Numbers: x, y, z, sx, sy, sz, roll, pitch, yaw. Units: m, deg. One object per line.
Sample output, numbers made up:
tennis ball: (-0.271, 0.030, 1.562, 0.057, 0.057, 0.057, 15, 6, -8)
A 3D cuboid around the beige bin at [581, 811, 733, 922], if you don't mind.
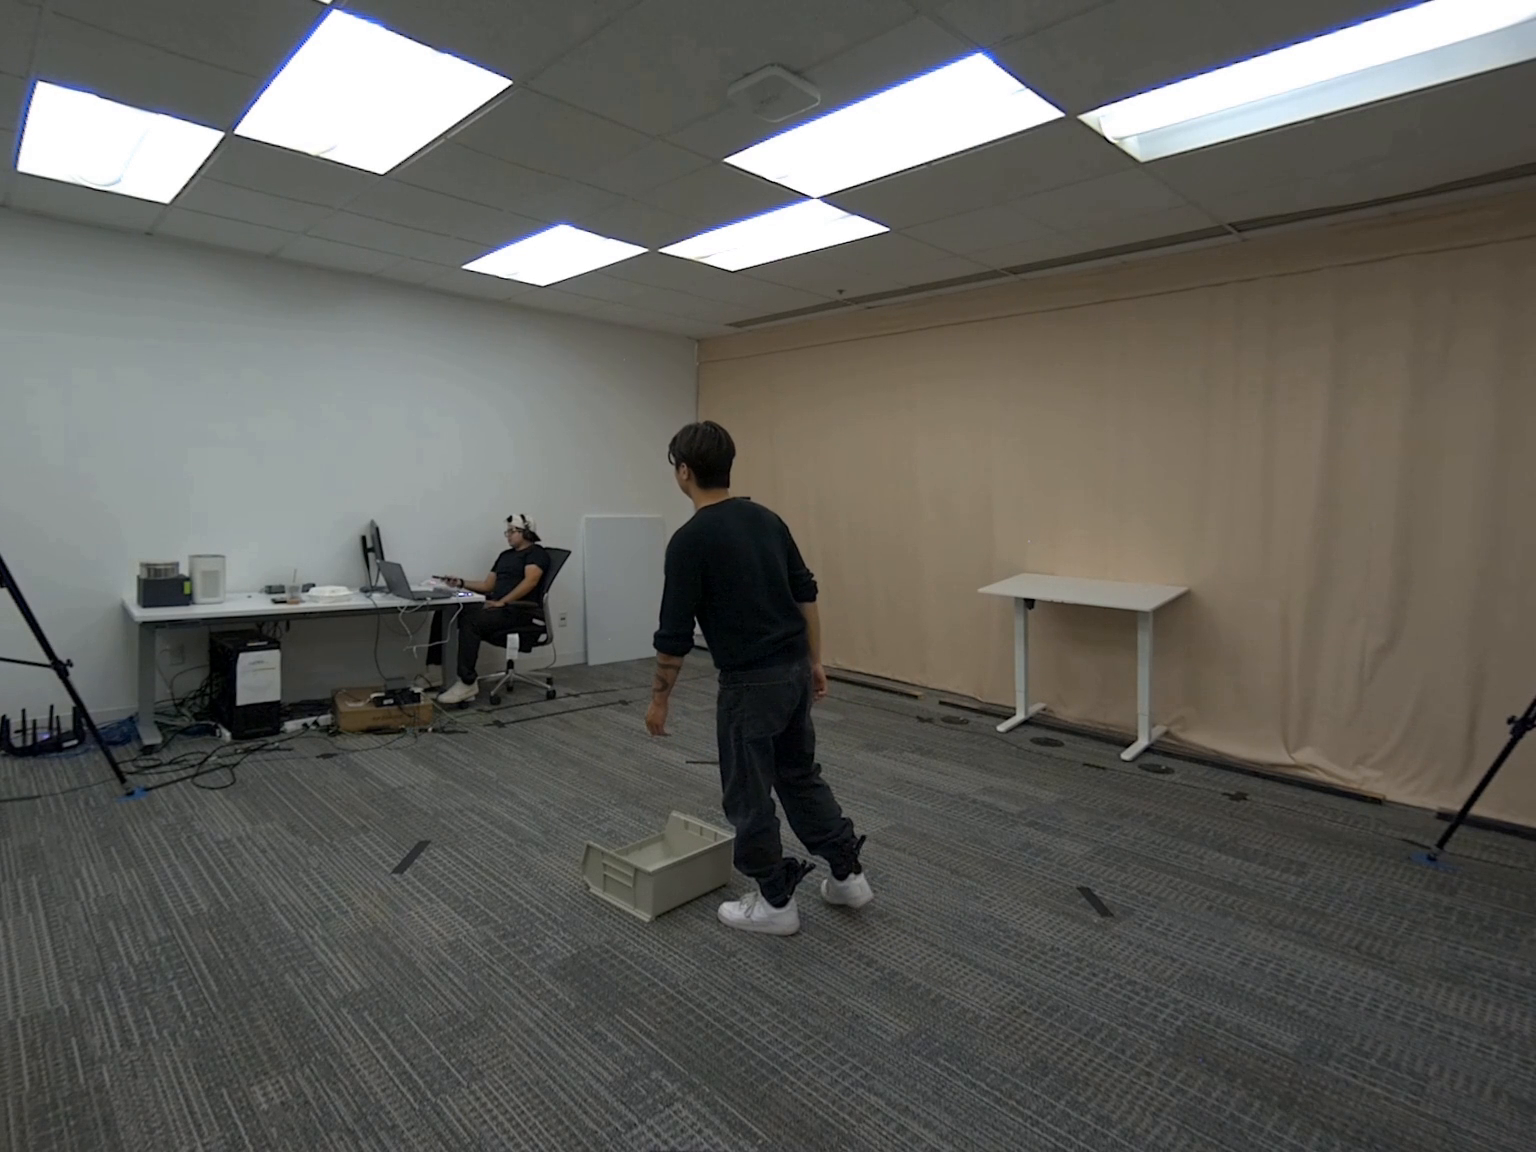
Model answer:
beige bin: (-0.395, 1.022, 3.010, 0.387, 0.188, 0.413, 7, 7, 41)
